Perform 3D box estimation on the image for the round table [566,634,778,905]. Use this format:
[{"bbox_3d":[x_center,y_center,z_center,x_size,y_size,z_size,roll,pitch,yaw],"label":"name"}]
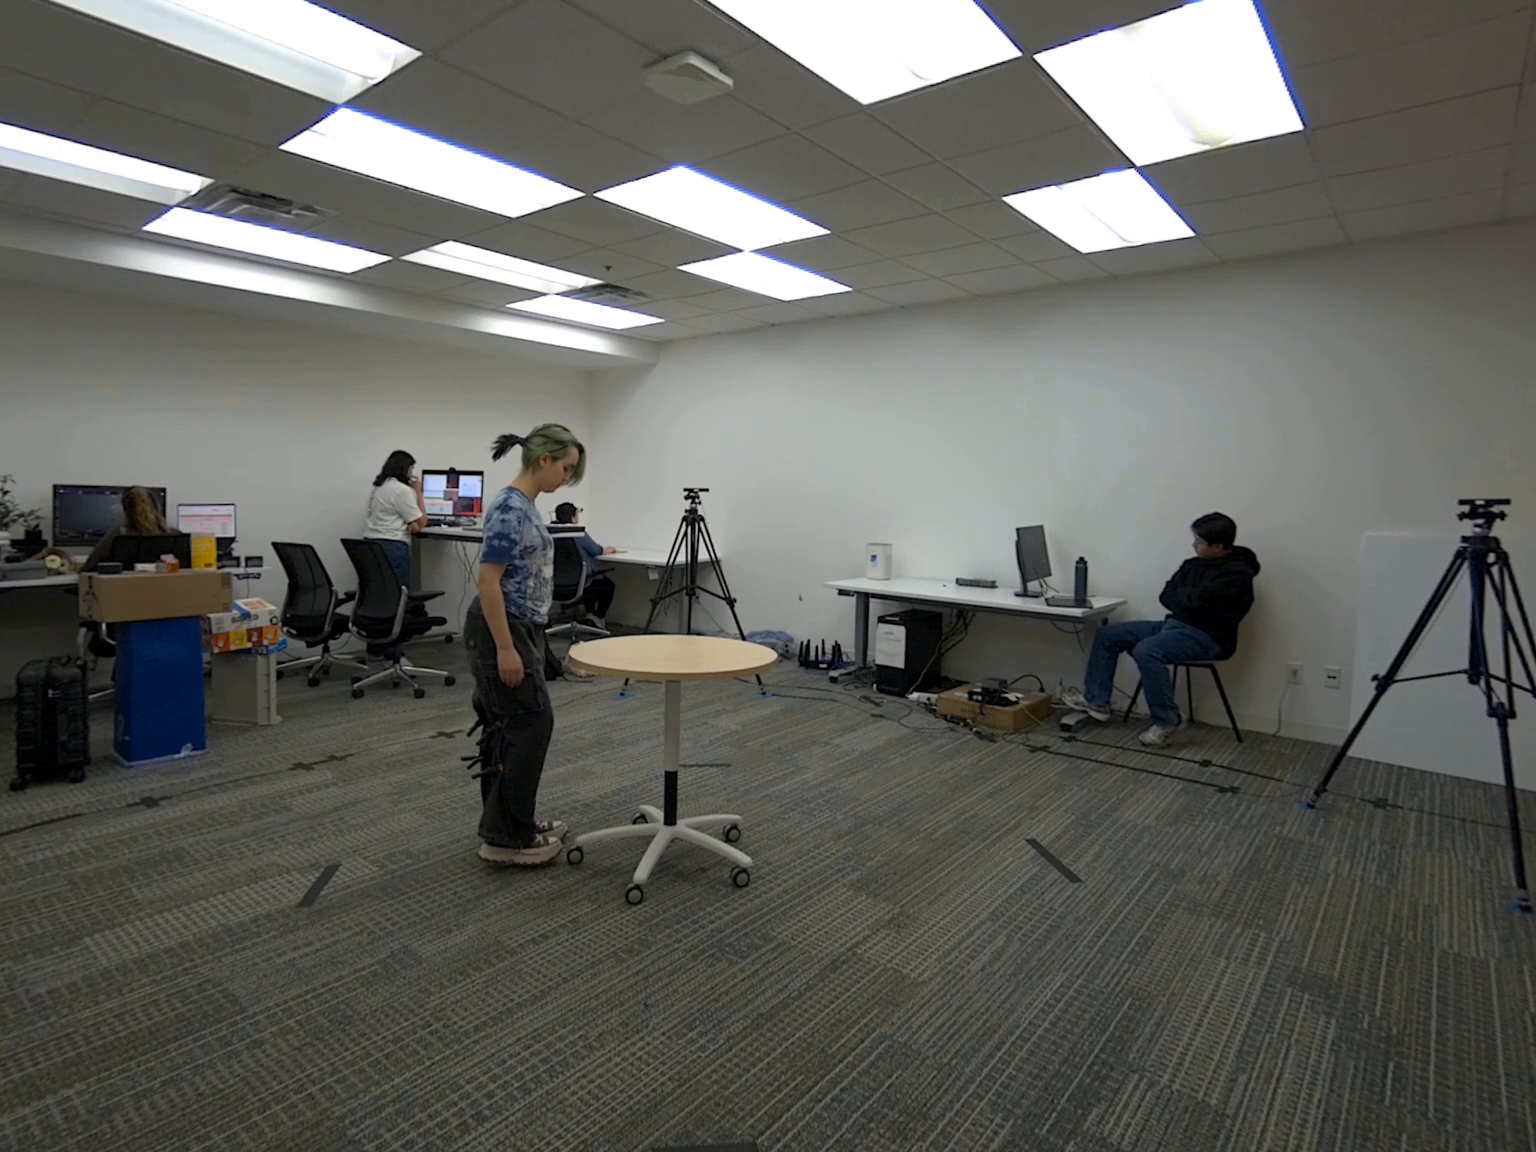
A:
[{"bbox_3d":[-0.364,0.674,3.153,0.763,0.792,0.767,1,4,-2],"label":"round table"}]
